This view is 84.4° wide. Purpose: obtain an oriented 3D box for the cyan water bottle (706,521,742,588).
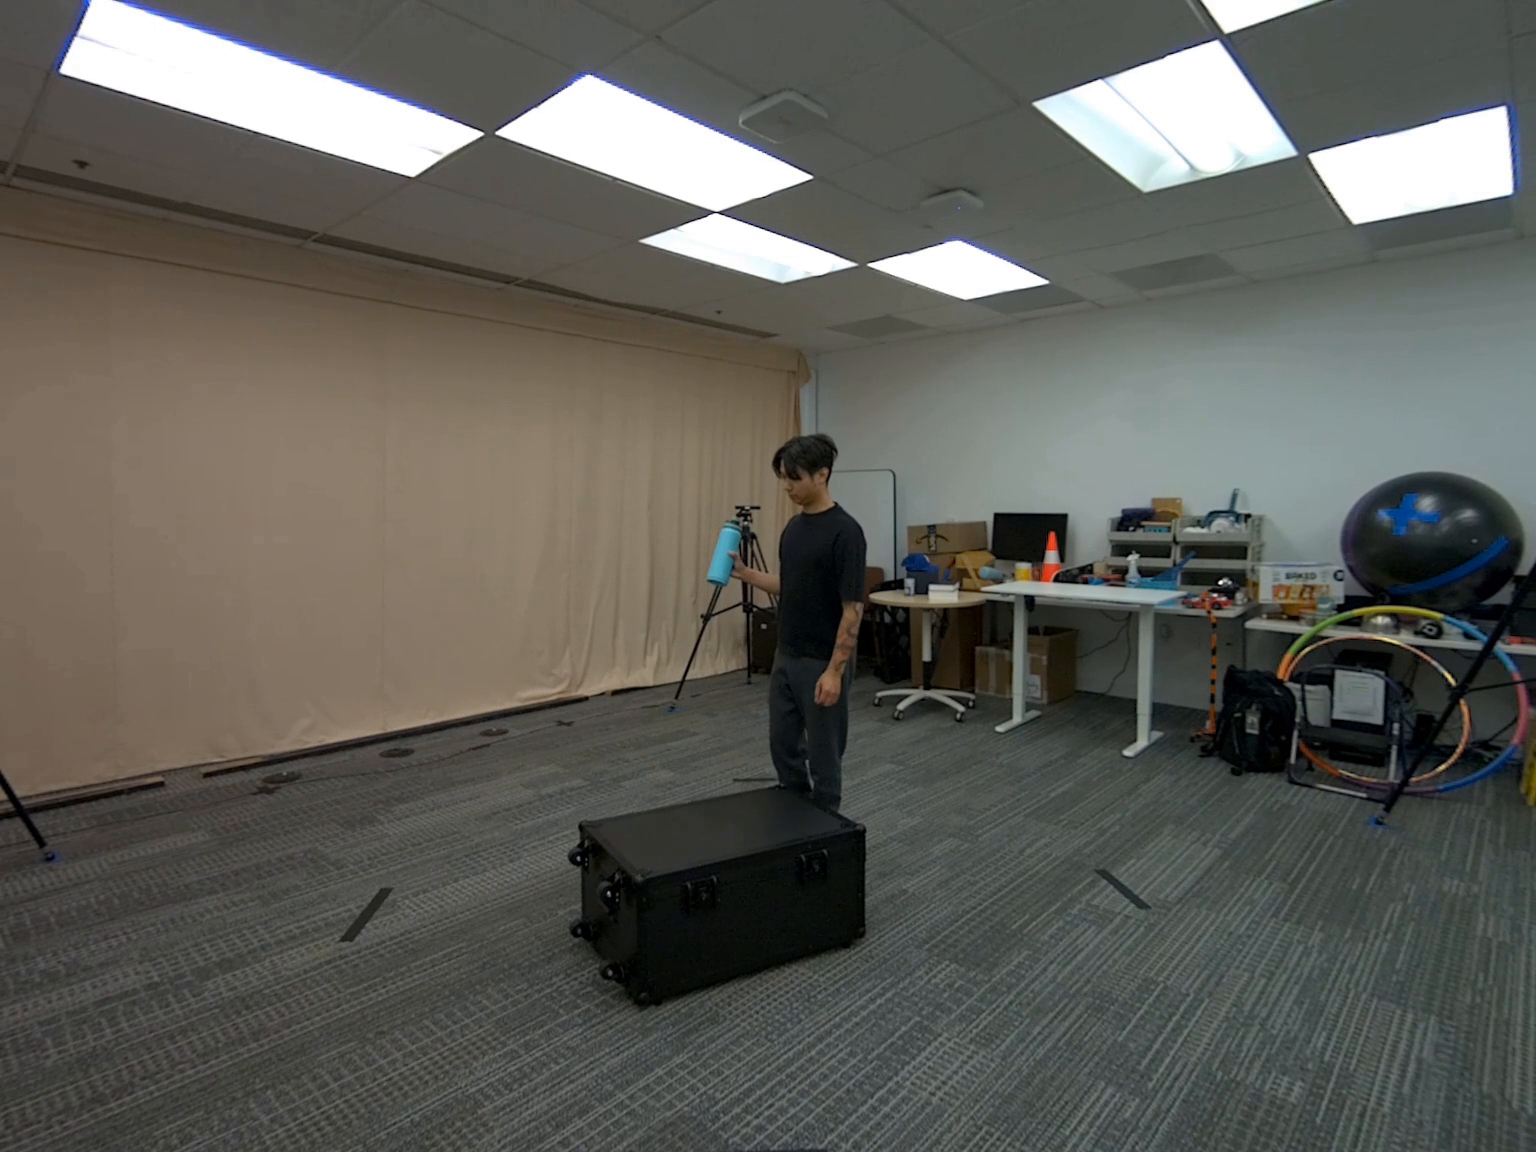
[{"bbox_3d":[-0.166,-0.102,3.458,0.092,0.285,0.092,12,-12,1],"label":"cyan water bottle"}]
